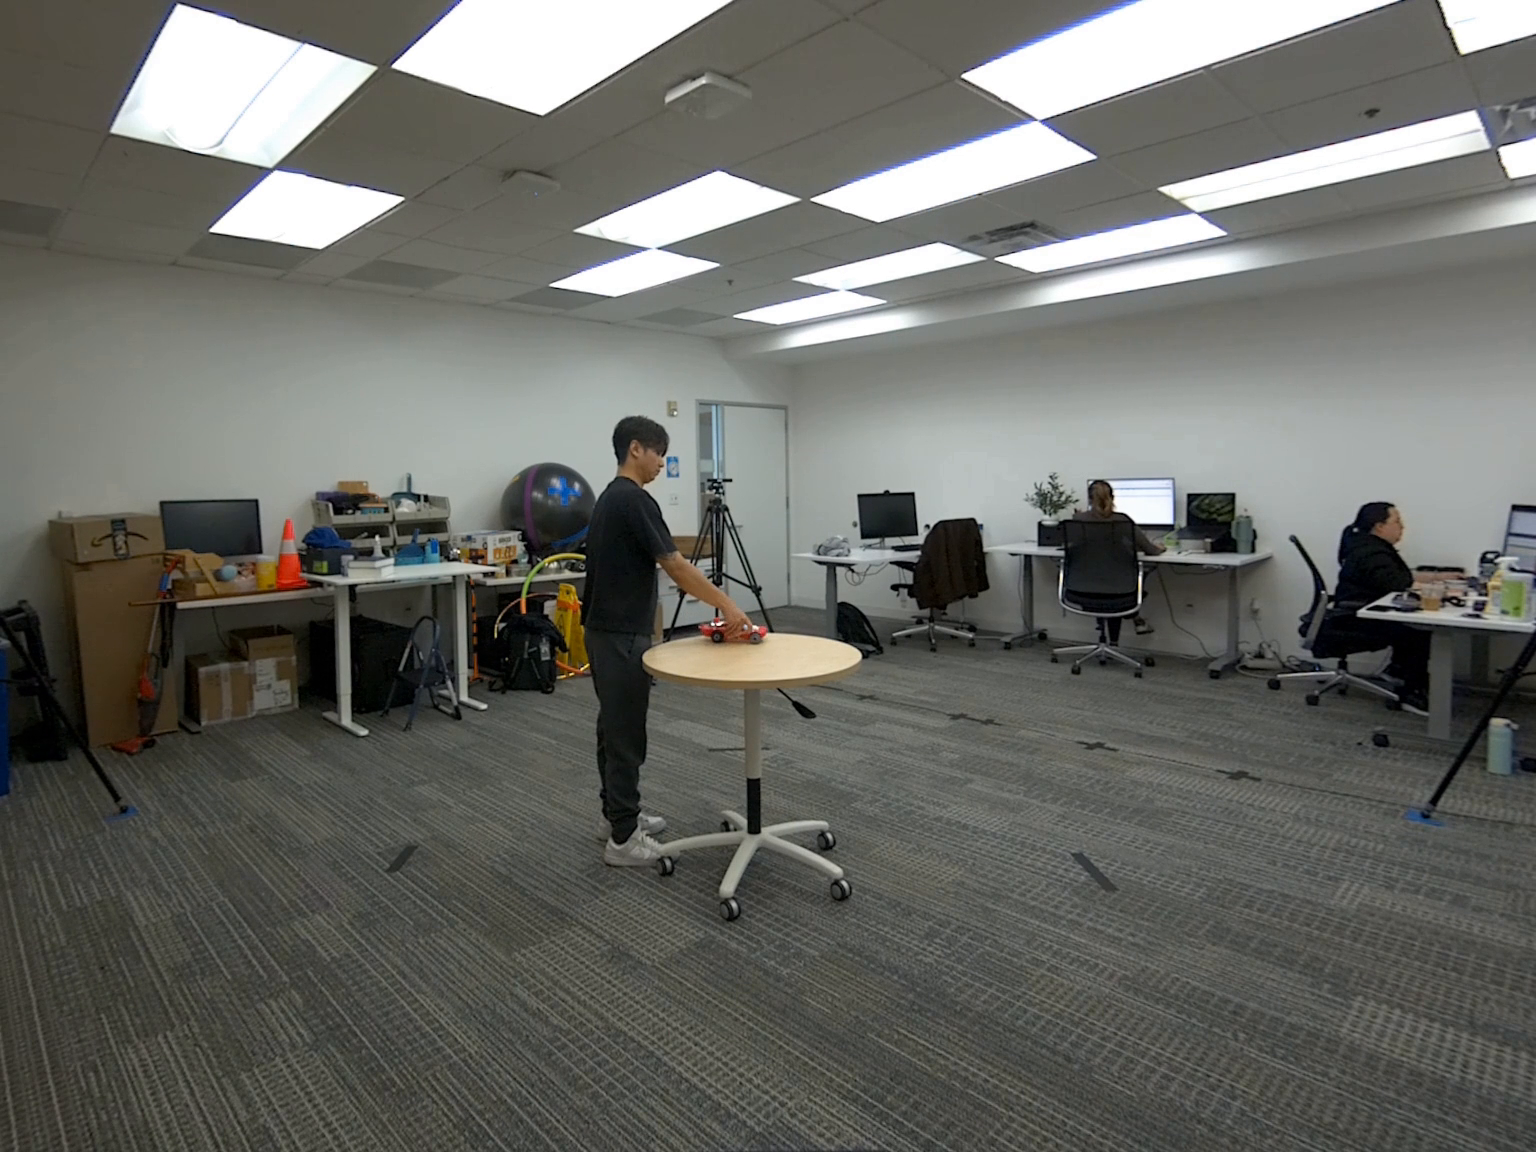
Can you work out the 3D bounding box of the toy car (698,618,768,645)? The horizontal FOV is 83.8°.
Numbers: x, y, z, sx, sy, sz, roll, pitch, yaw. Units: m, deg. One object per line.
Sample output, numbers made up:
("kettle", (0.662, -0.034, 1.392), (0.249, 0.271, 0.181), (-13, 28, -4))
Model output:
("toy car", (-0.137, 0.213, 3.227), (0.257, 0.083, 0.129), (12, 7, 8))
